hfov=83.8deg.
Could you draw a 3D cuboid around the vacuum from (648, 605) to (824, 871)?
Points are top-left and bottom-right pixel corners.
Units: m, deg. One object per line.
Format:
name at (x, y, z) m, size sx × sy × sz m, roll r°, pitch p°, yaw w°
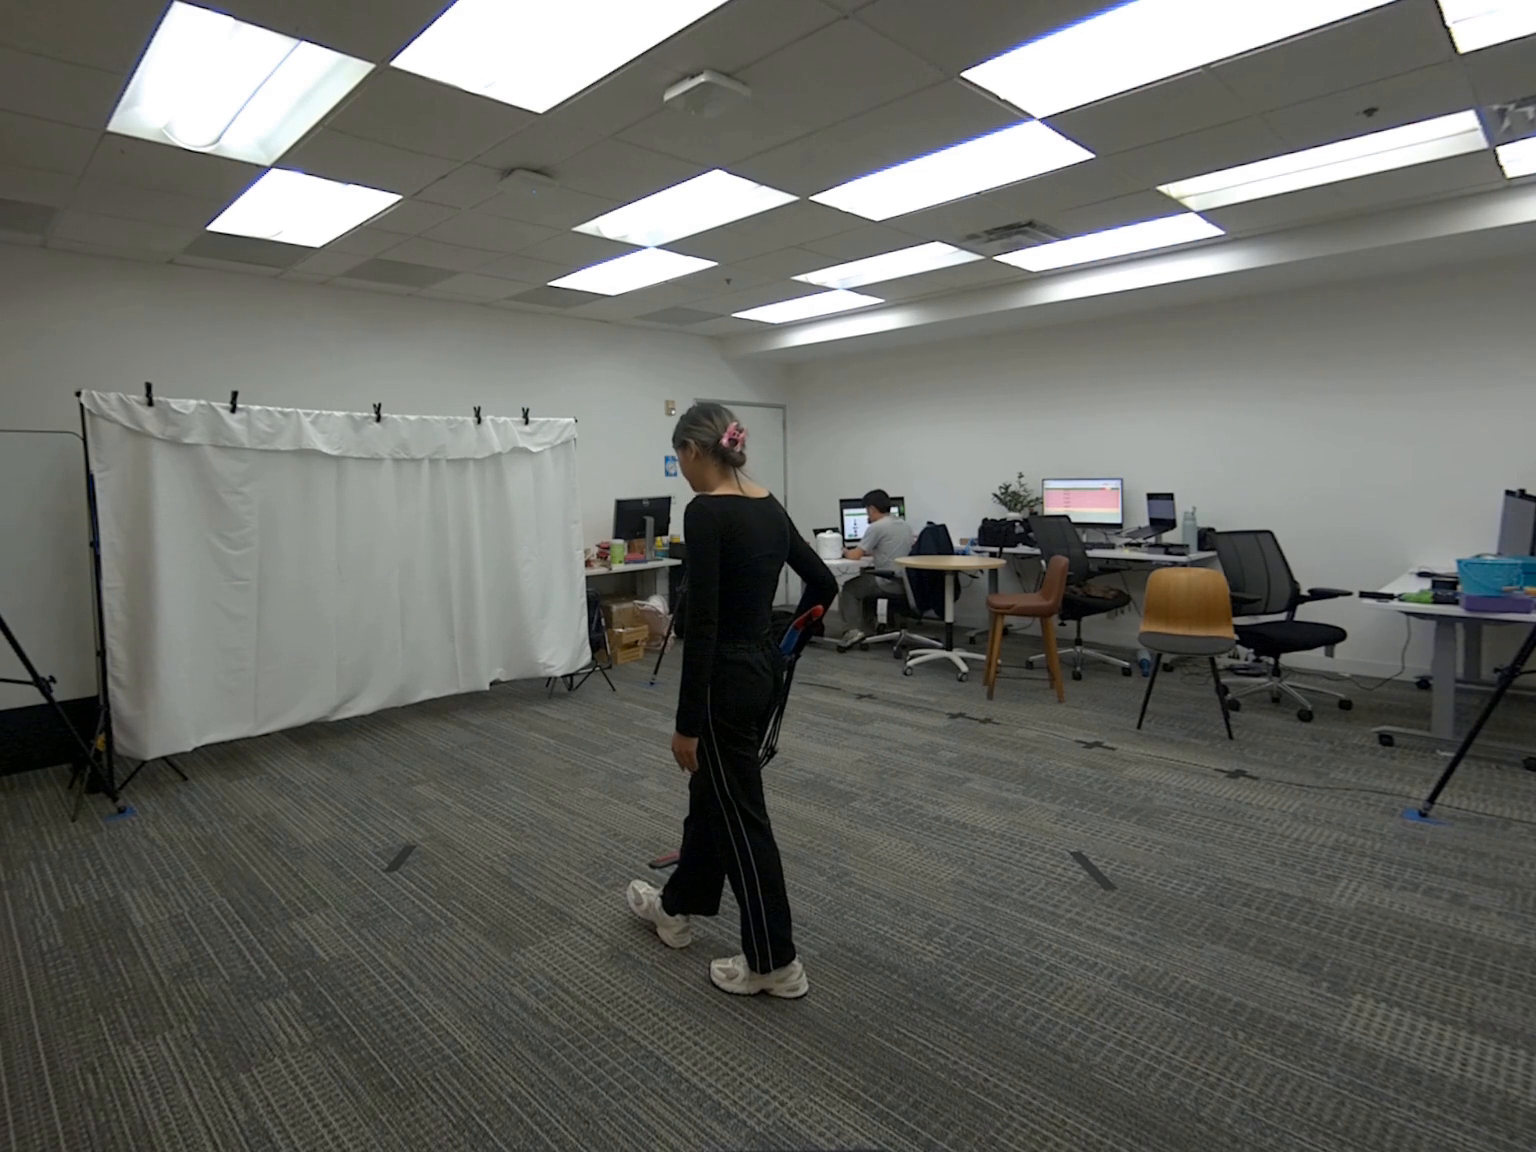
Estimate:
vacuum at (-0.071, 0.533, 2.654) m, size 0.245 × 1.038 × 0.150 m, roll 1°, pitch 32°, yaw -40°
